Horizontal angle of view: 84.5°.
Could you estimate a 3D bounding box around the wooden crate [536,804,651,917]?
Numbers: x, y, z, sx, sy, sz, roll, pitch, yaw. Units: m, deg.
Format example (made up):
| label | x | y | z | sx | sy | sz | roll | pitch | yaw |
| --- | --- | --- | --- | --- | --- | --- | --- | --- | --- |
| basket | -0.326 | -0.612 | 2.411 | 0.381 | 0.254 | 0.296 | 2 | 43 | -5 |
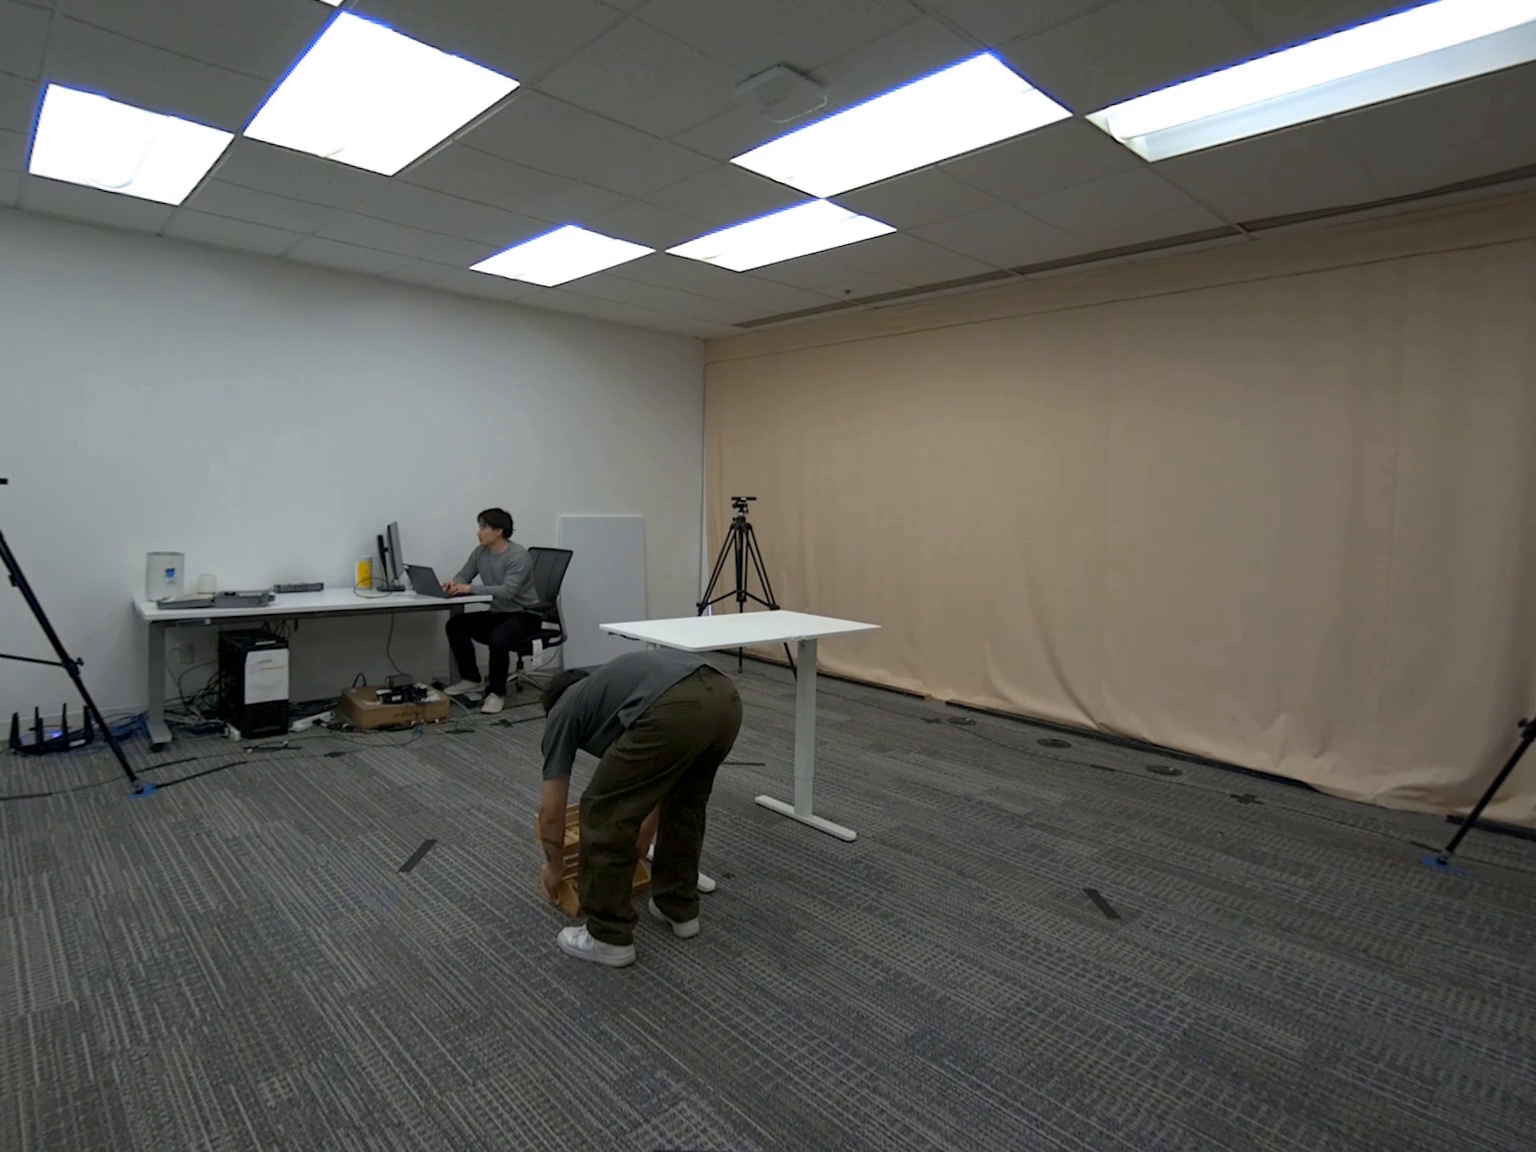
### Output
| label | x | y | z | sx | sy | sz | roll | pitch | yaw |
| --- | --- | --- | --- | --- | --- | --- | --- | --- | --- |
| wooden crate | -0.618 | 0.981 | 2.961 | 0.317 | 0.272 | 0.310 | -2 | 5 | -44 |
